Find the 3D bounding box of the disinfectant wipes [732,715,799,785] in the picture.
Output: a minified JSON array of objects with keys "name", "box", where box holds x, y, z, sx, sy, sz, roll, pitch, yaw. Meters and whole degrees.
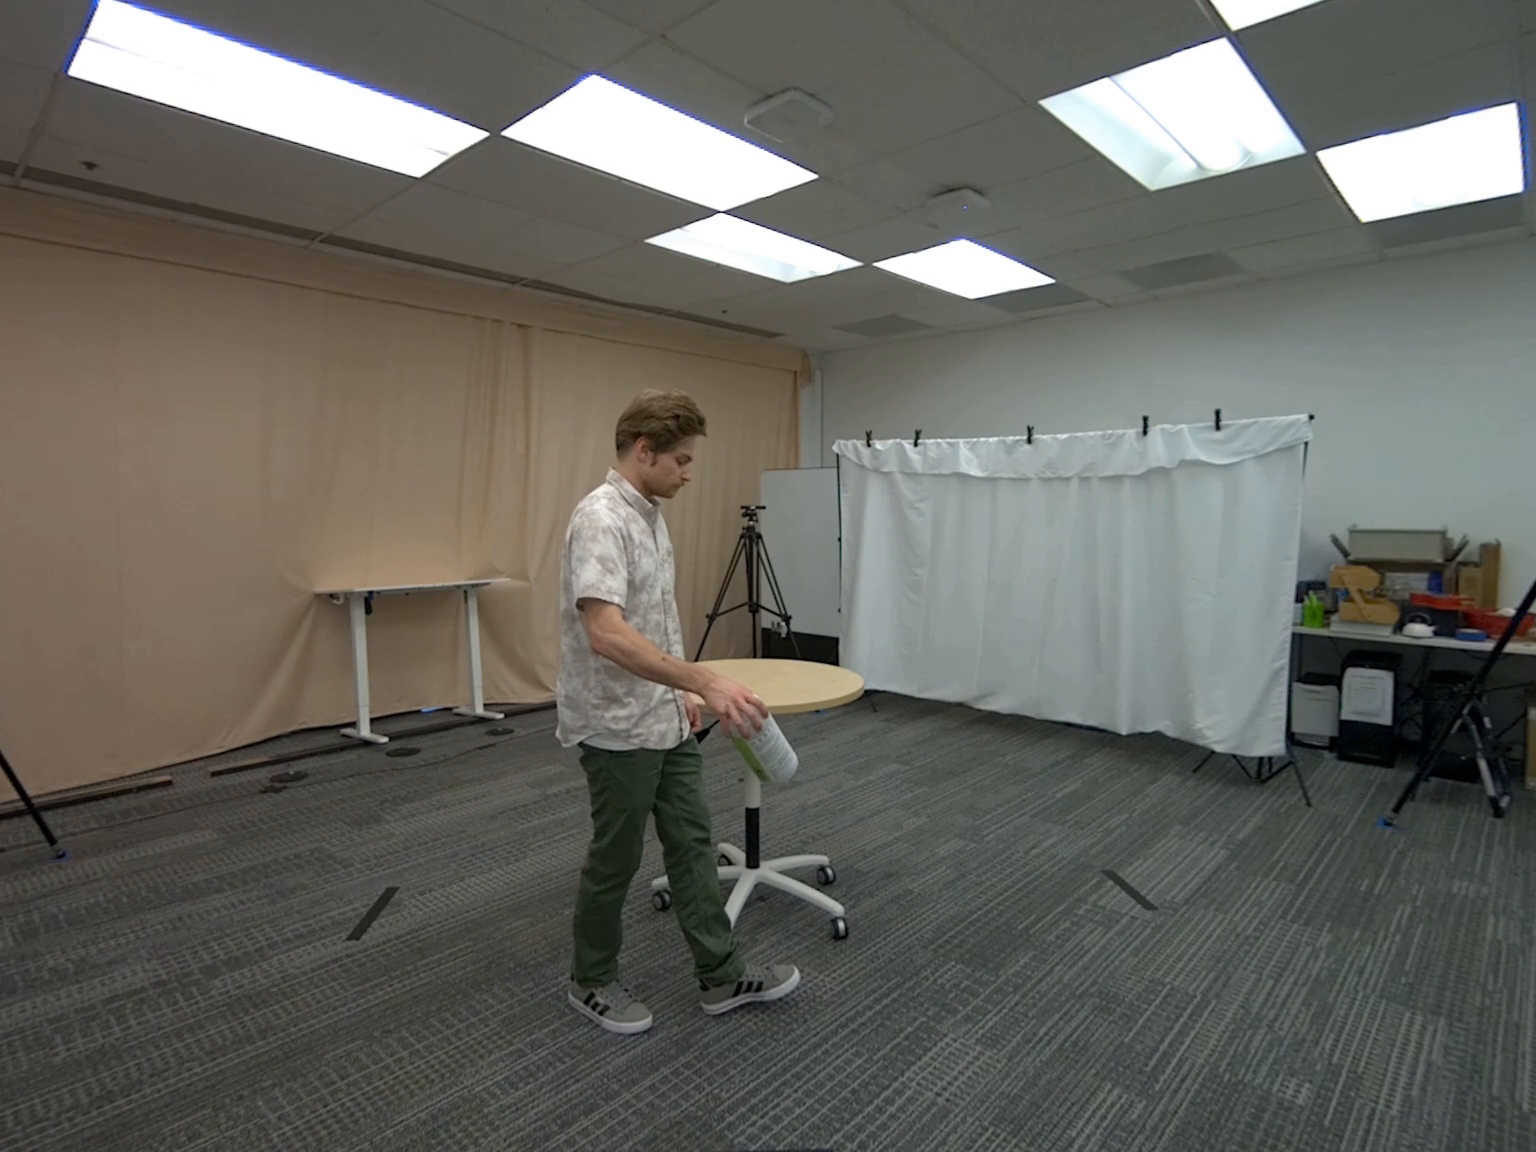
[{"name":"disinfectant wipes","box":[-0.011,0.387,1.968,0.119,0.212,0.120,-22,27,10]}]
